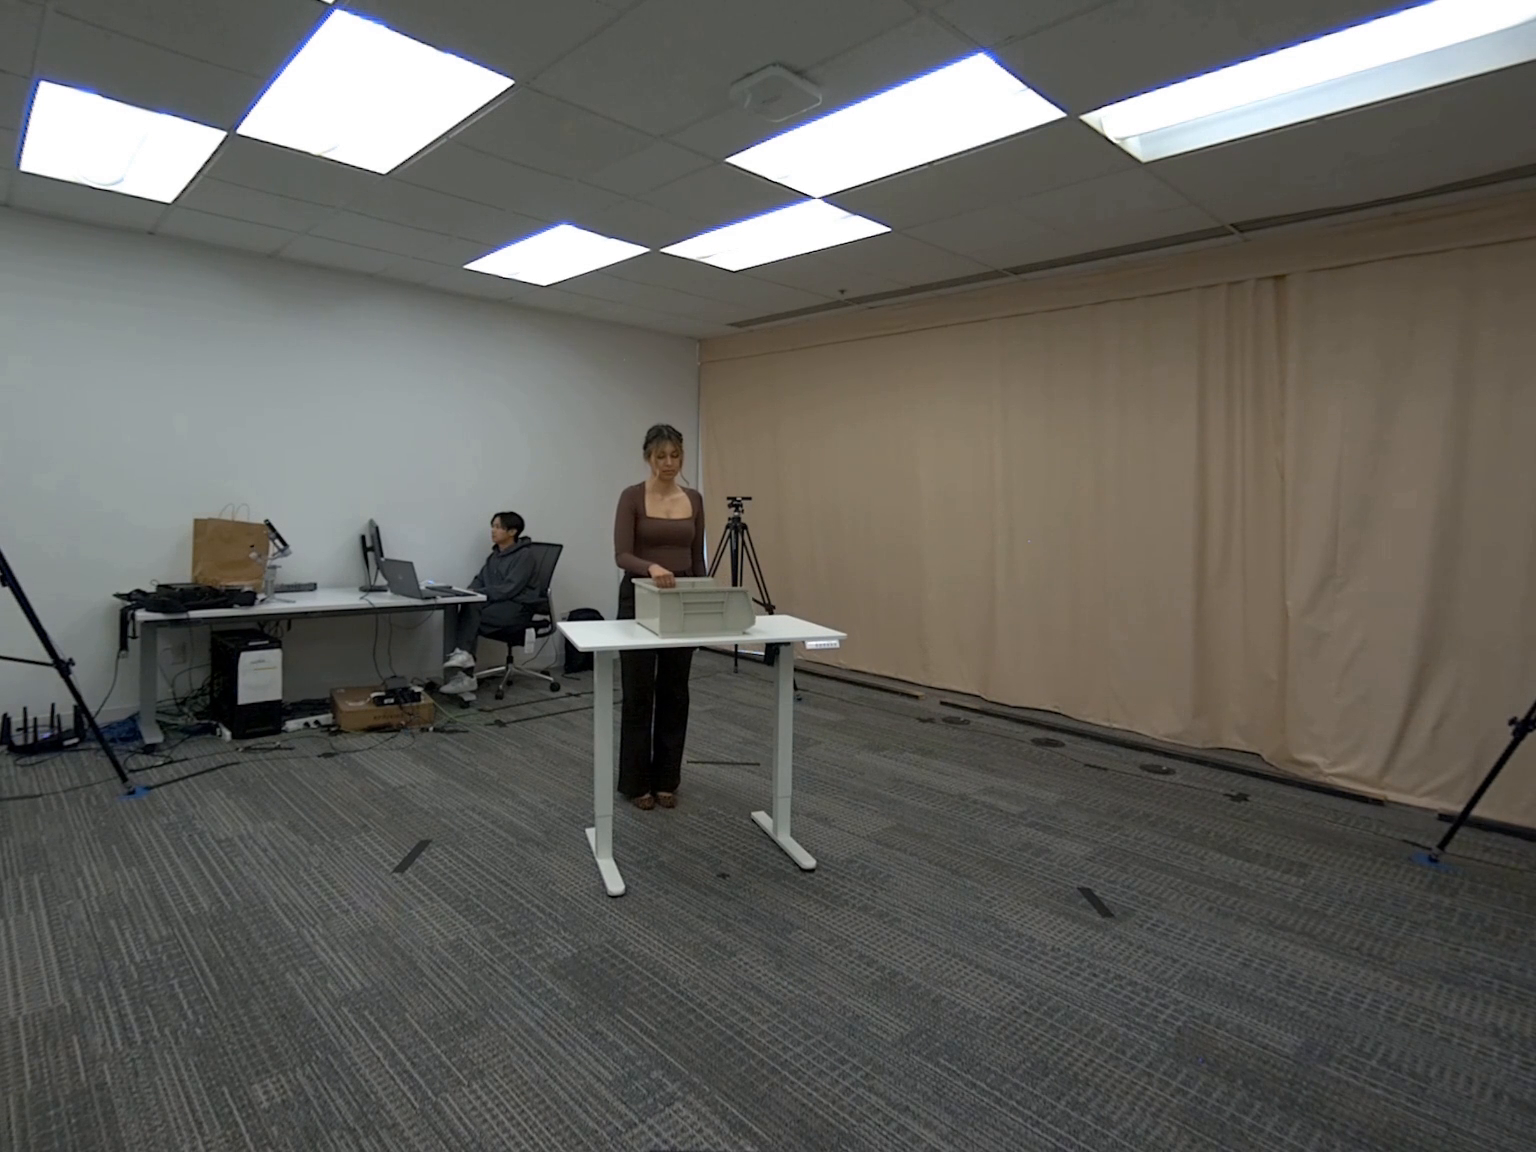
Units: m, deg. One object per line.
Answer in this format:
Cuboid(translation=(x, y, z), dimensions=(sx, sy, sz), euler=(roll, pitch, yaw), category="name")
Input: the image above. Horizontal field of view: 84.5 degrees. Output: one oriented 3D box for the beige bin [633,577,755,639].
Cuboid(translation=(-0.300, 0.117, 3.259), dimensions=(0.372, 0.188, 0.430), euler=(-2, 6, -21), category="beige bin")
